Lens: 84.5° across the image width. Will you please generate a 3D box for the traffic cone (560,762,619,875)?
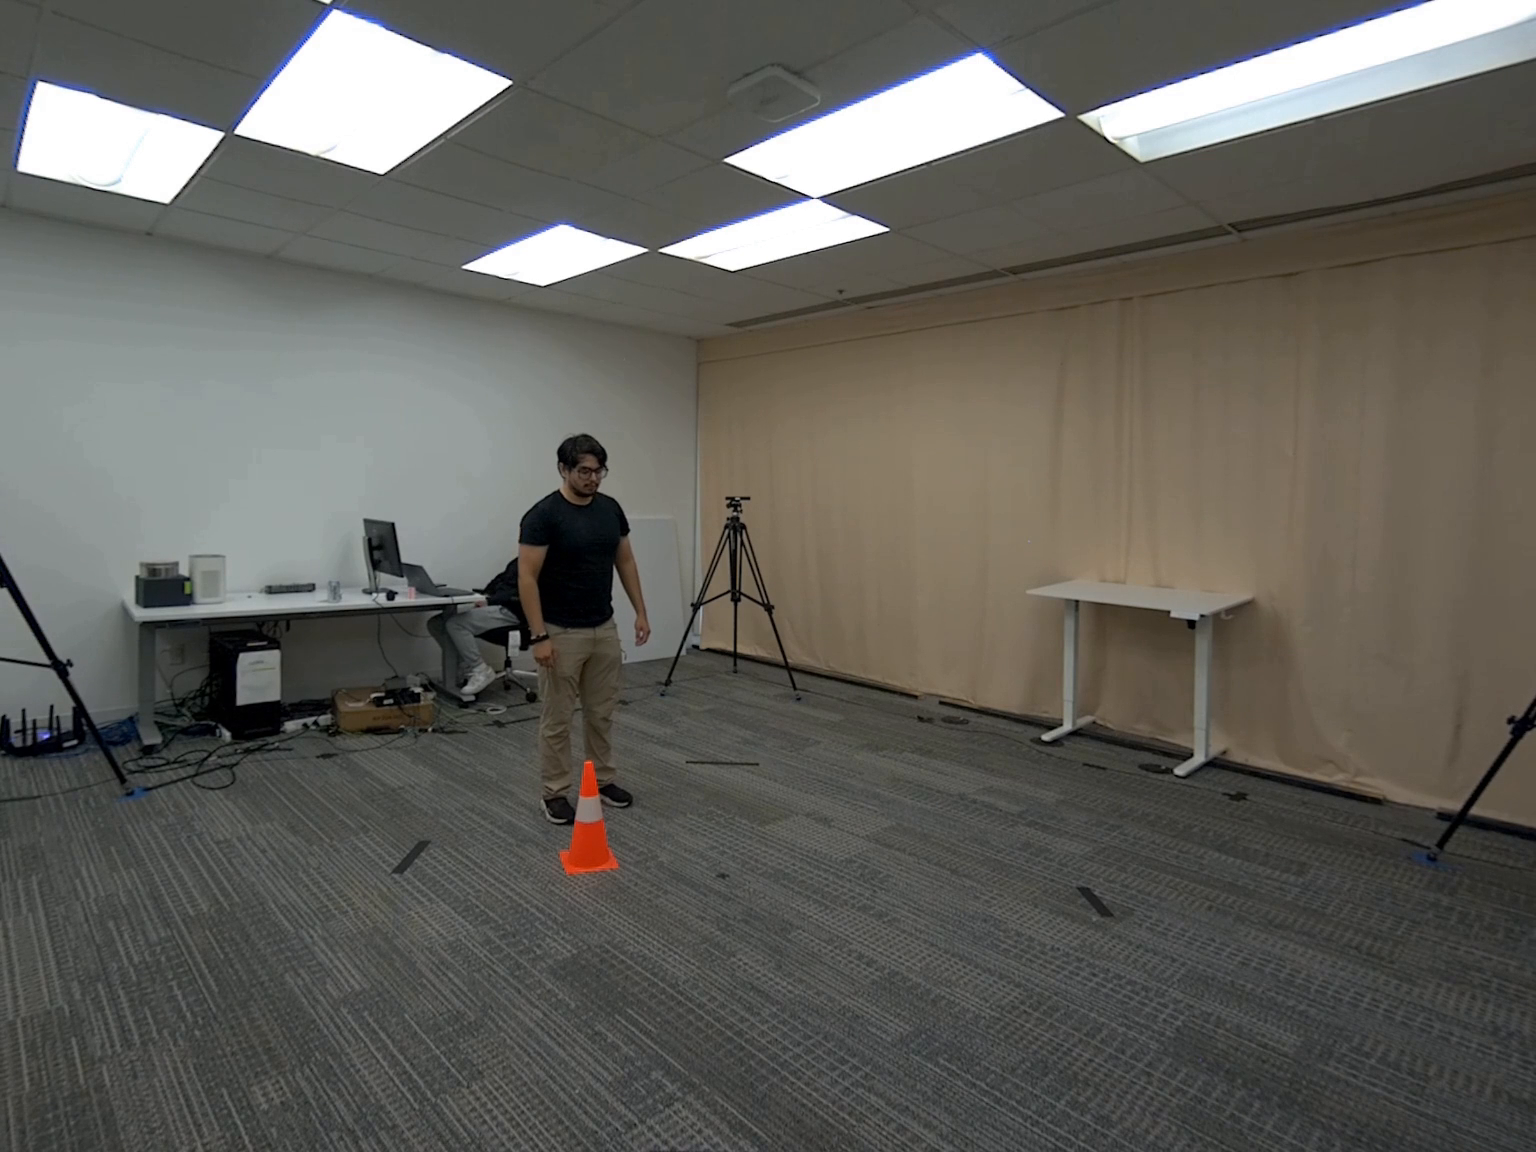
[{"bbox_3d":[-0.695,0.903,3.206,0.200,0.383,0.209,1,2,-24],"label":"traffic cone"}]
